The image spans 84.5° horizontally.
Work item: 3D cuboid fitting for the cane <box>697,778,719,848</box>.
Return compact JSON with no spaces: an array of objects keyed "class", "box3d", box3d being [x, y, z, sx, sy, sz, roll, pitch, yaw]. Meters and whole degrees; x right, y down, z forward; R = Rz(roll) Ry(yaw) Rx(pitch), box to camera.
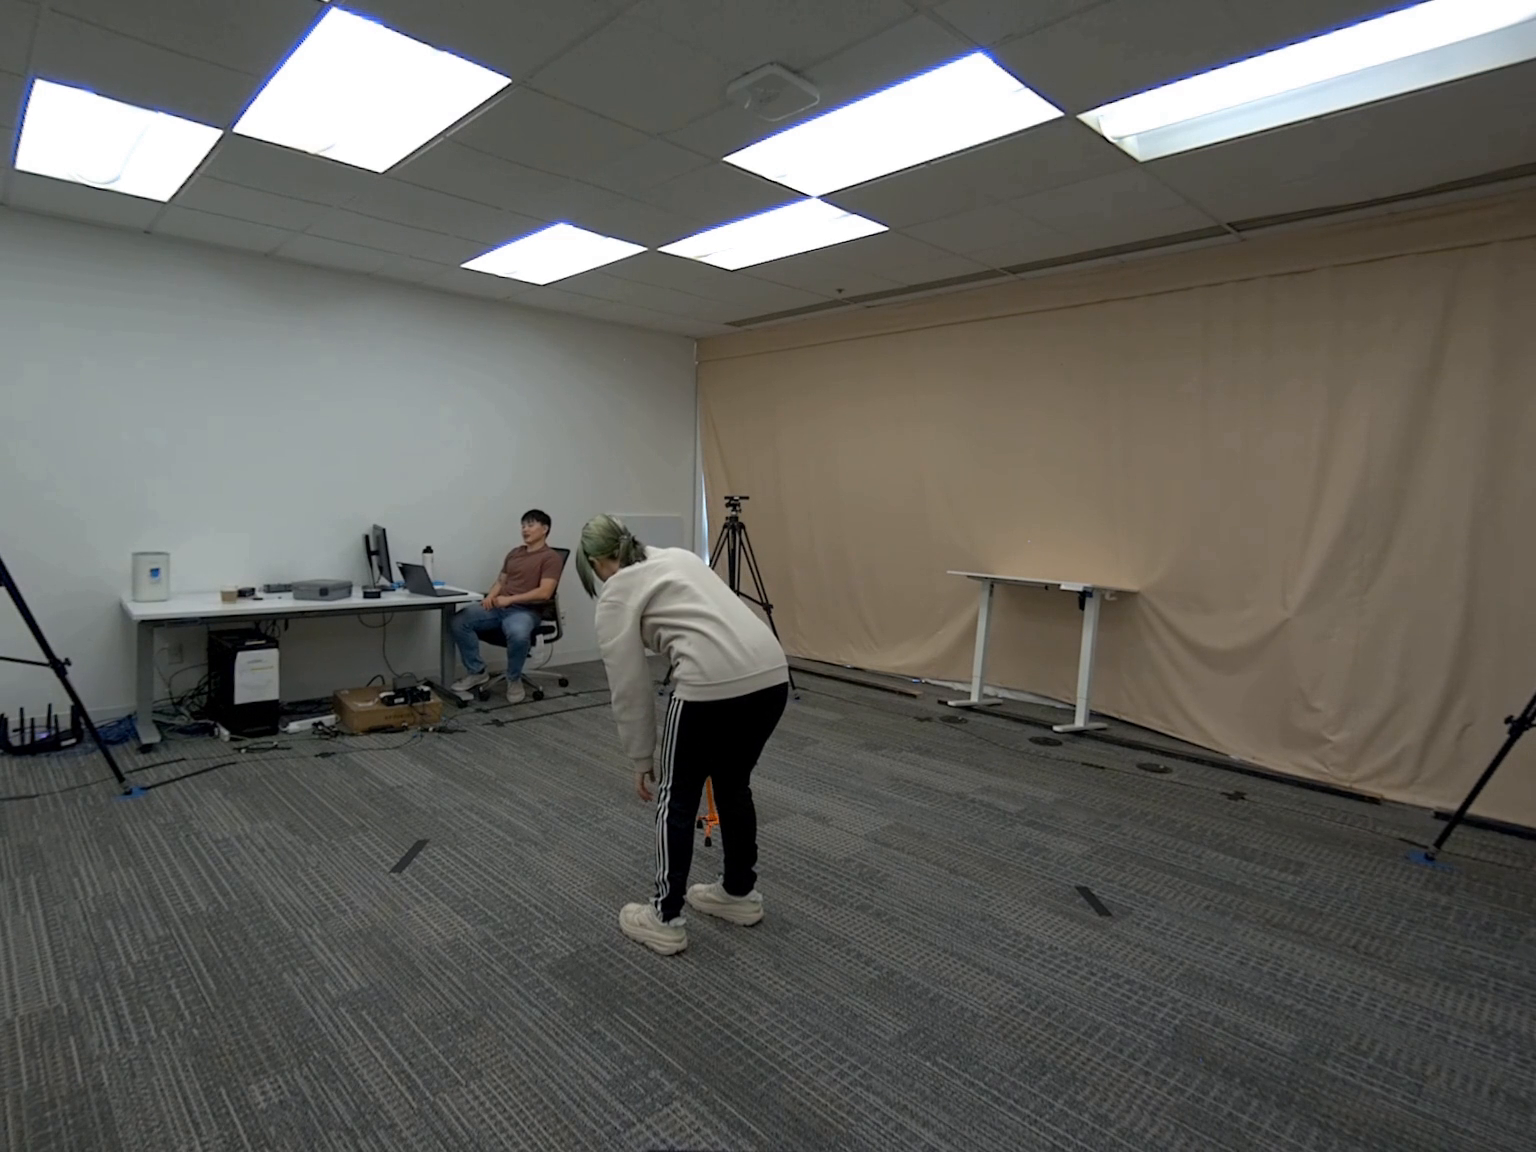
[{"class":"cane","box3d":[-0.253,0.561,3.252,0.150,0.905,0.209,-7,4,-17]}]
